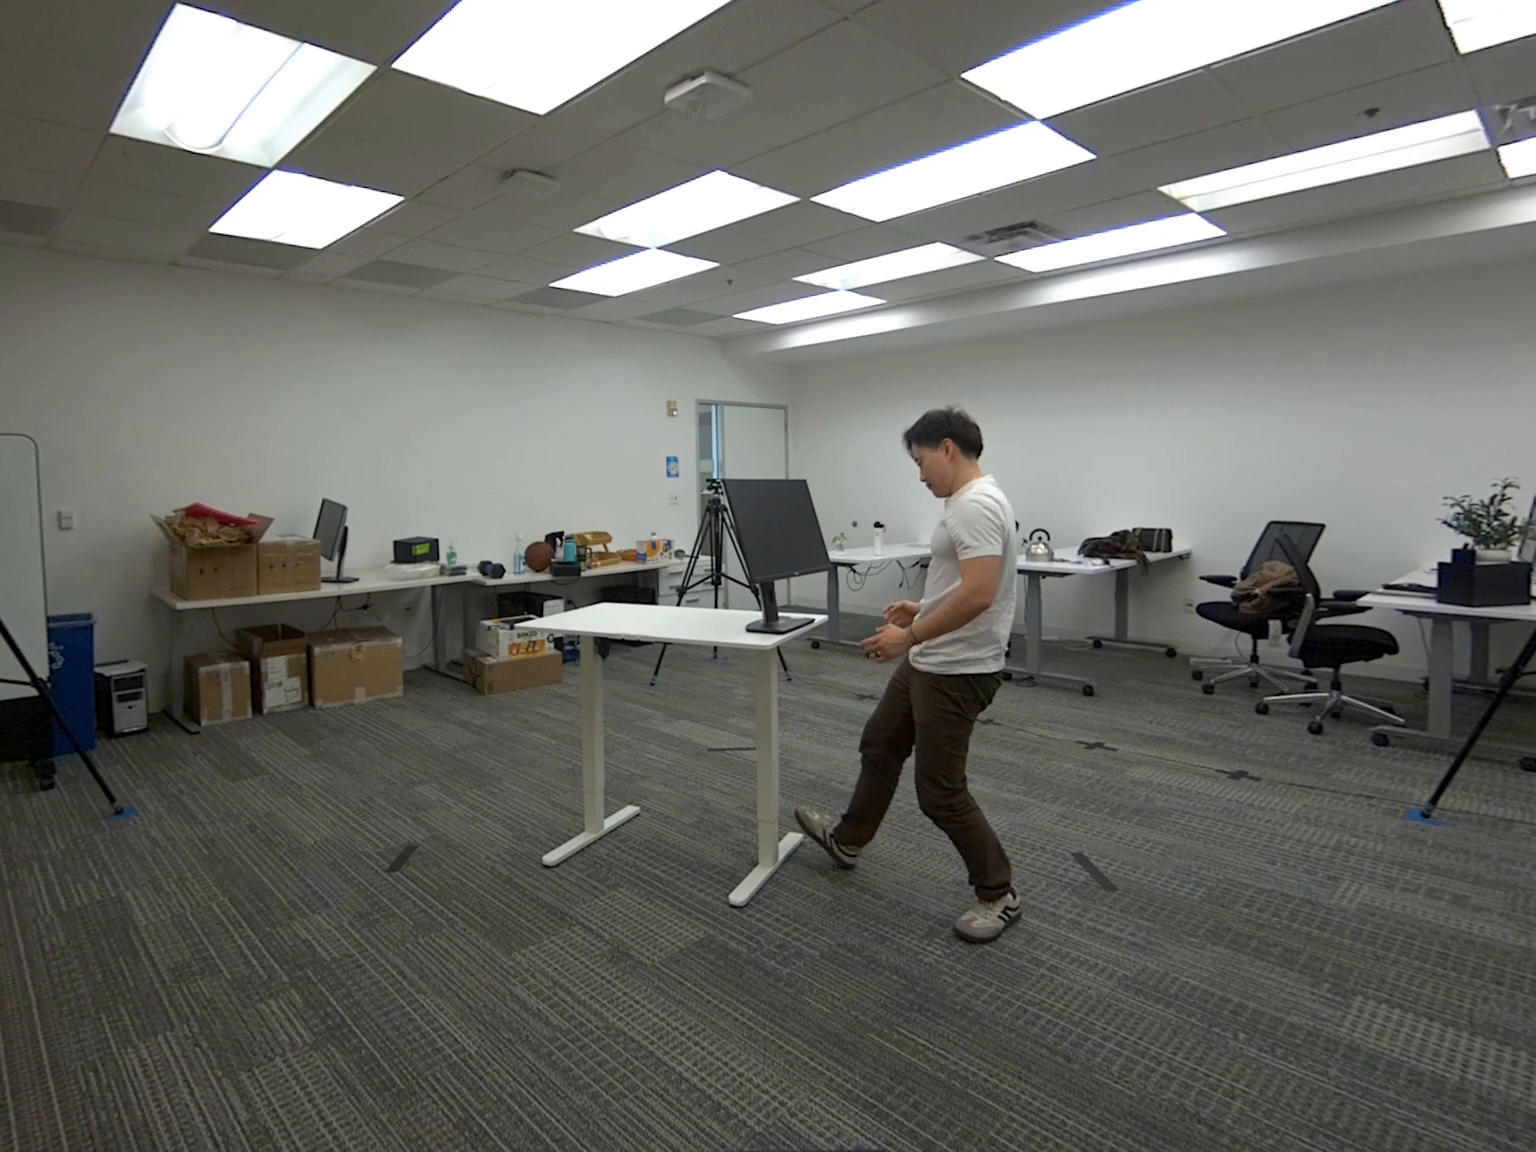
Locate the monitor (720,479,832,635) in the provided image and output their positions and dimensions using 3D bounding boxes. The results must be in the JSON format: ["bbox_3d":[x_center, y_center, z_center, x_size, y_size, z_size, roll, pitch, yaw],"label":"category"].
[{"bbox_3d":[0.033,-0.077,2.971,0.191,0.522,0.527,-3,2,29],"label":"monitor"}]
